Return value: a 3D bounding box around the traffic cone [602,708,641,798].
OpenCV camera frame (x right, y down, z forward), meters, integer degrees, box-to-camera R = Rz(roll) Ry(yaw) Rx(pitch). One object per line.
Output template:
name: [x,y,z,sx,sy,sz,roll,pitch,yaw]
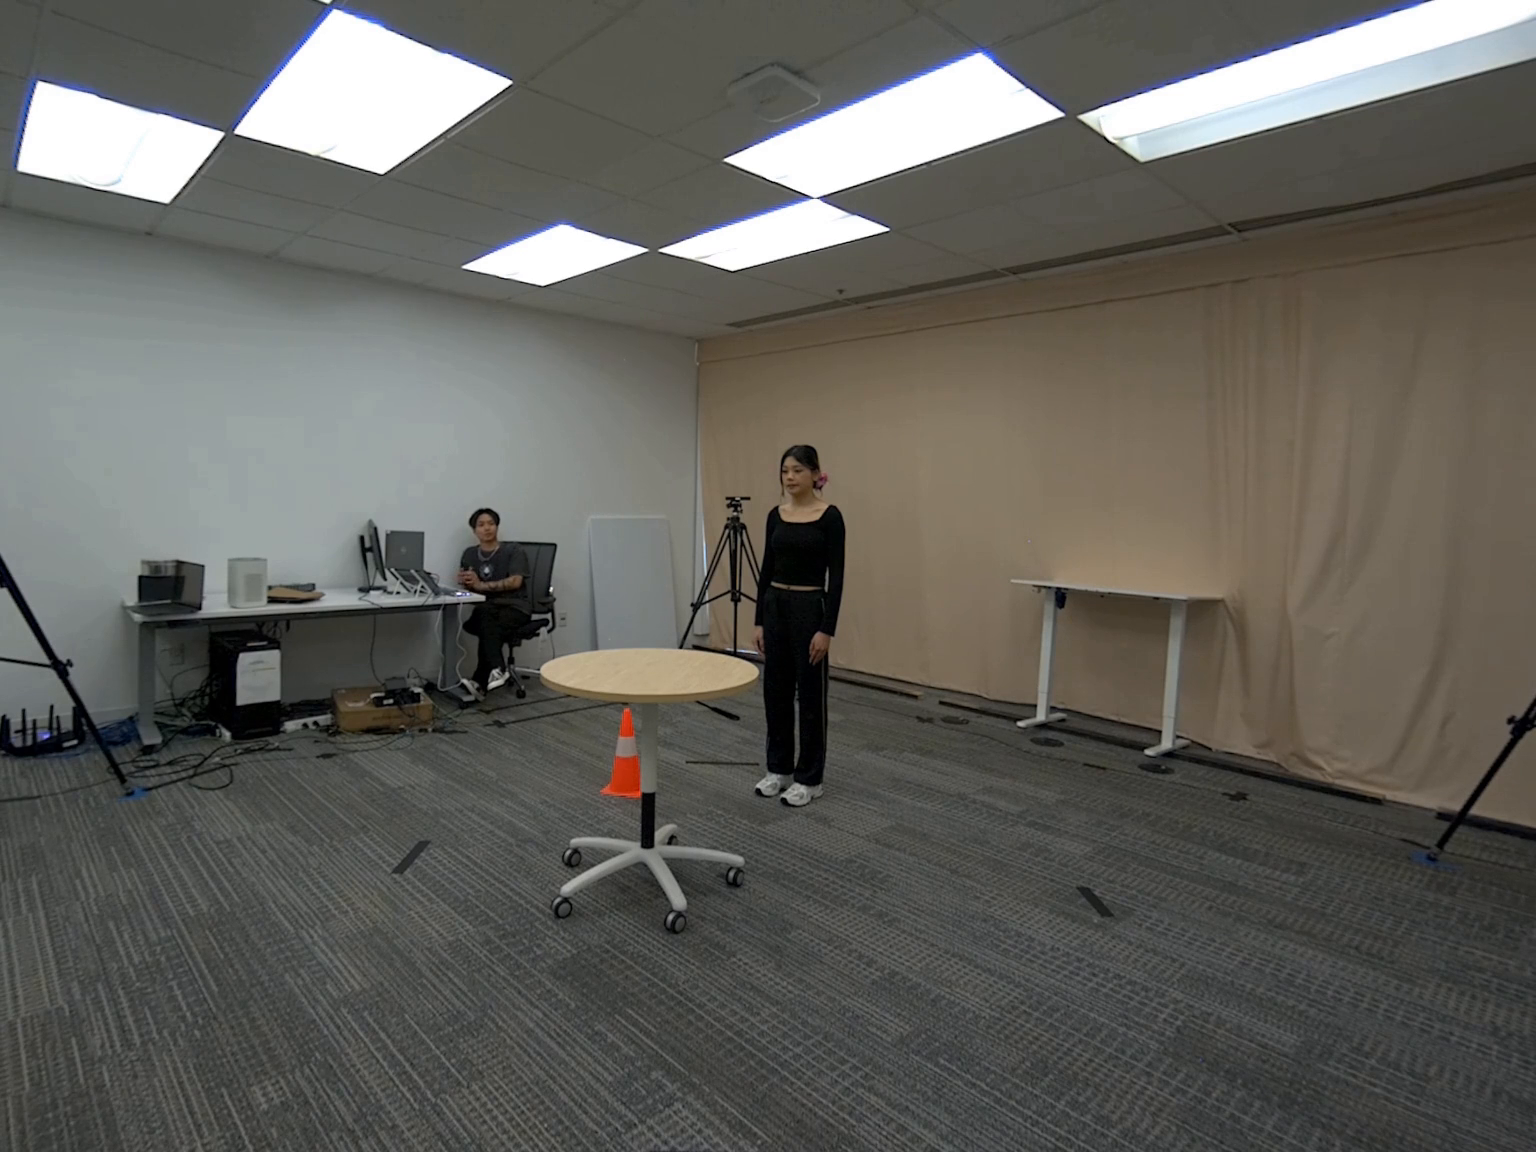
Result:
traffic cone: [-0.682,0.827,4.013,0.205,0.383,0.204,4,4,8]
